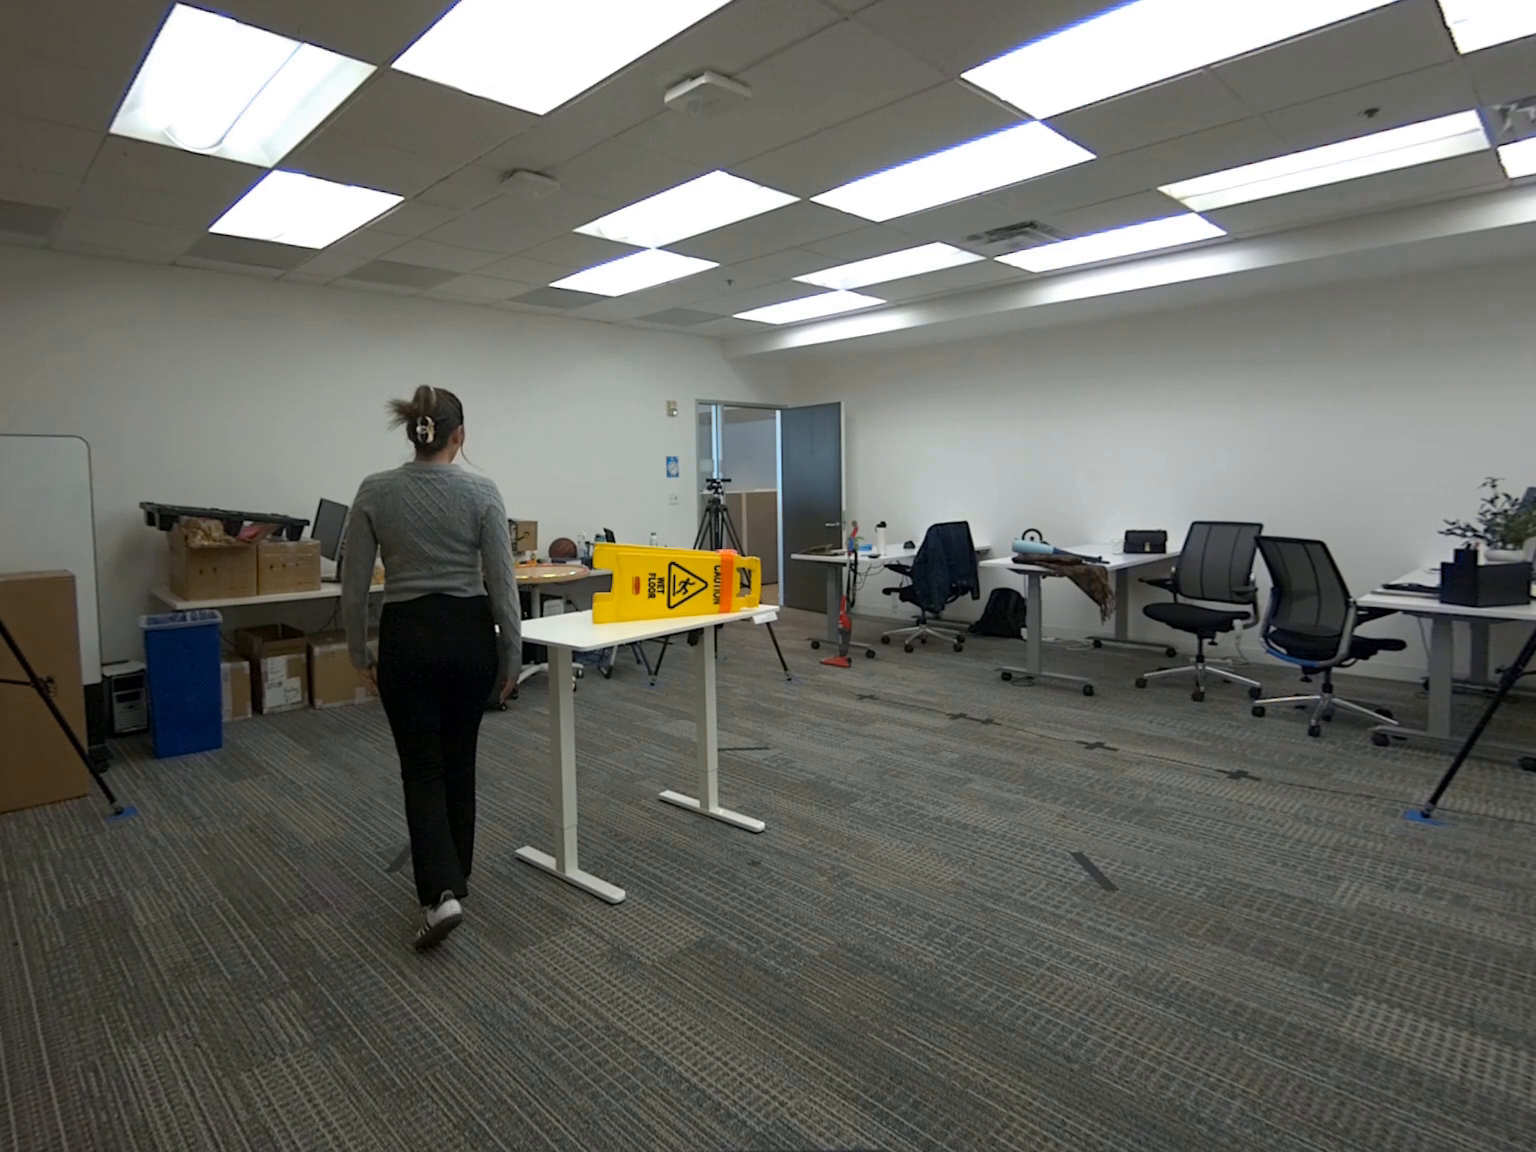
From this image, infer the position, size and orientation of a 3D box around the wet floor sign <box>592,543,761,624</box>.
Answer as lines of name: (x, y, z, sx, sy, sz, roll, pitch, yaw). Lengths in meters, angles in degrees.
wet floor sign: (-0.349, 0.024, 3.296, 0.640, 0.281, 0.293, 1, 5, -9)
